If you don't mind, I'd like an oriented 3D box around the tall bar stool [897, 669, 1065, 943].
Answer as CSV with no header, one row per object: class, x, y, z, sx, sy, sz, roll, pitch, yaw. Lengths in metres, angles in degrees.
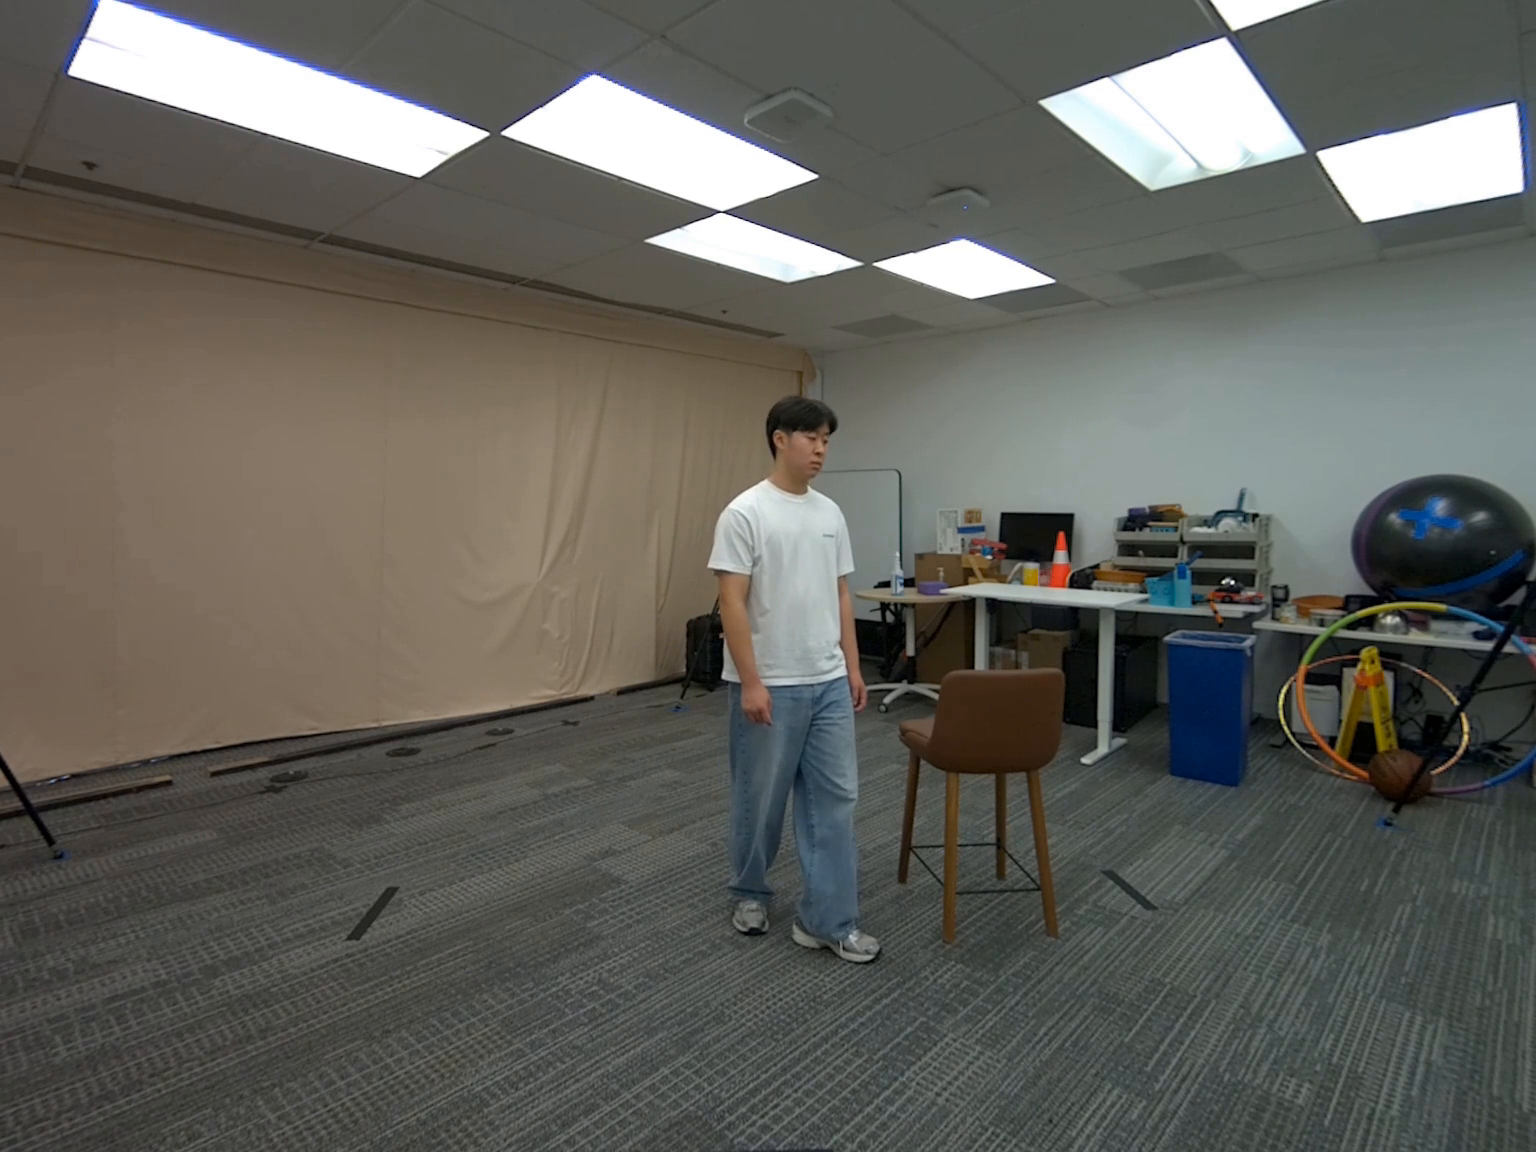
tall bar stool,0.724,0.716,2.884,0.453,0.887,0.473,0,5,-8
